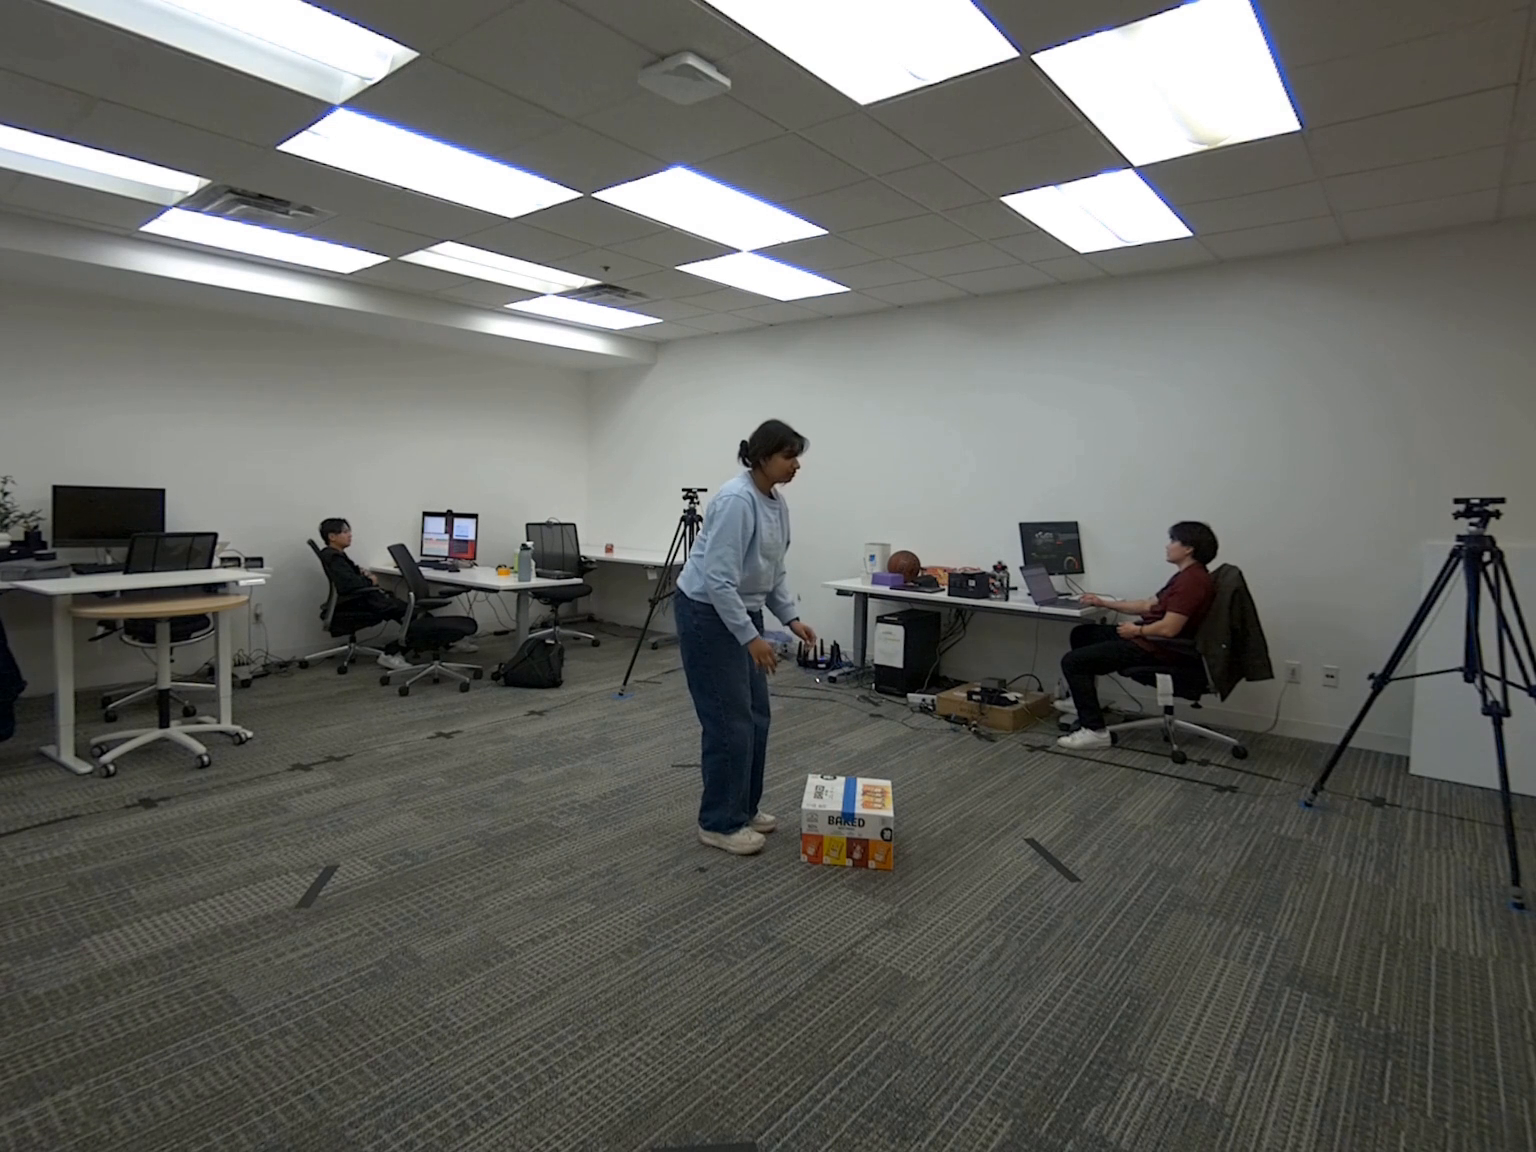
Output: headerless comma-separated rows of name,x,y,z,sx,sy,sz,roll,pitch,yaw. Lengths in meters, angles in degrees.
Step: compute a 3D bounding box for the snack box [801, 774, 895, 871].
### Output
snack box,0.307,0.957,3.358,0.344,0.205,0.403,2,5,8
